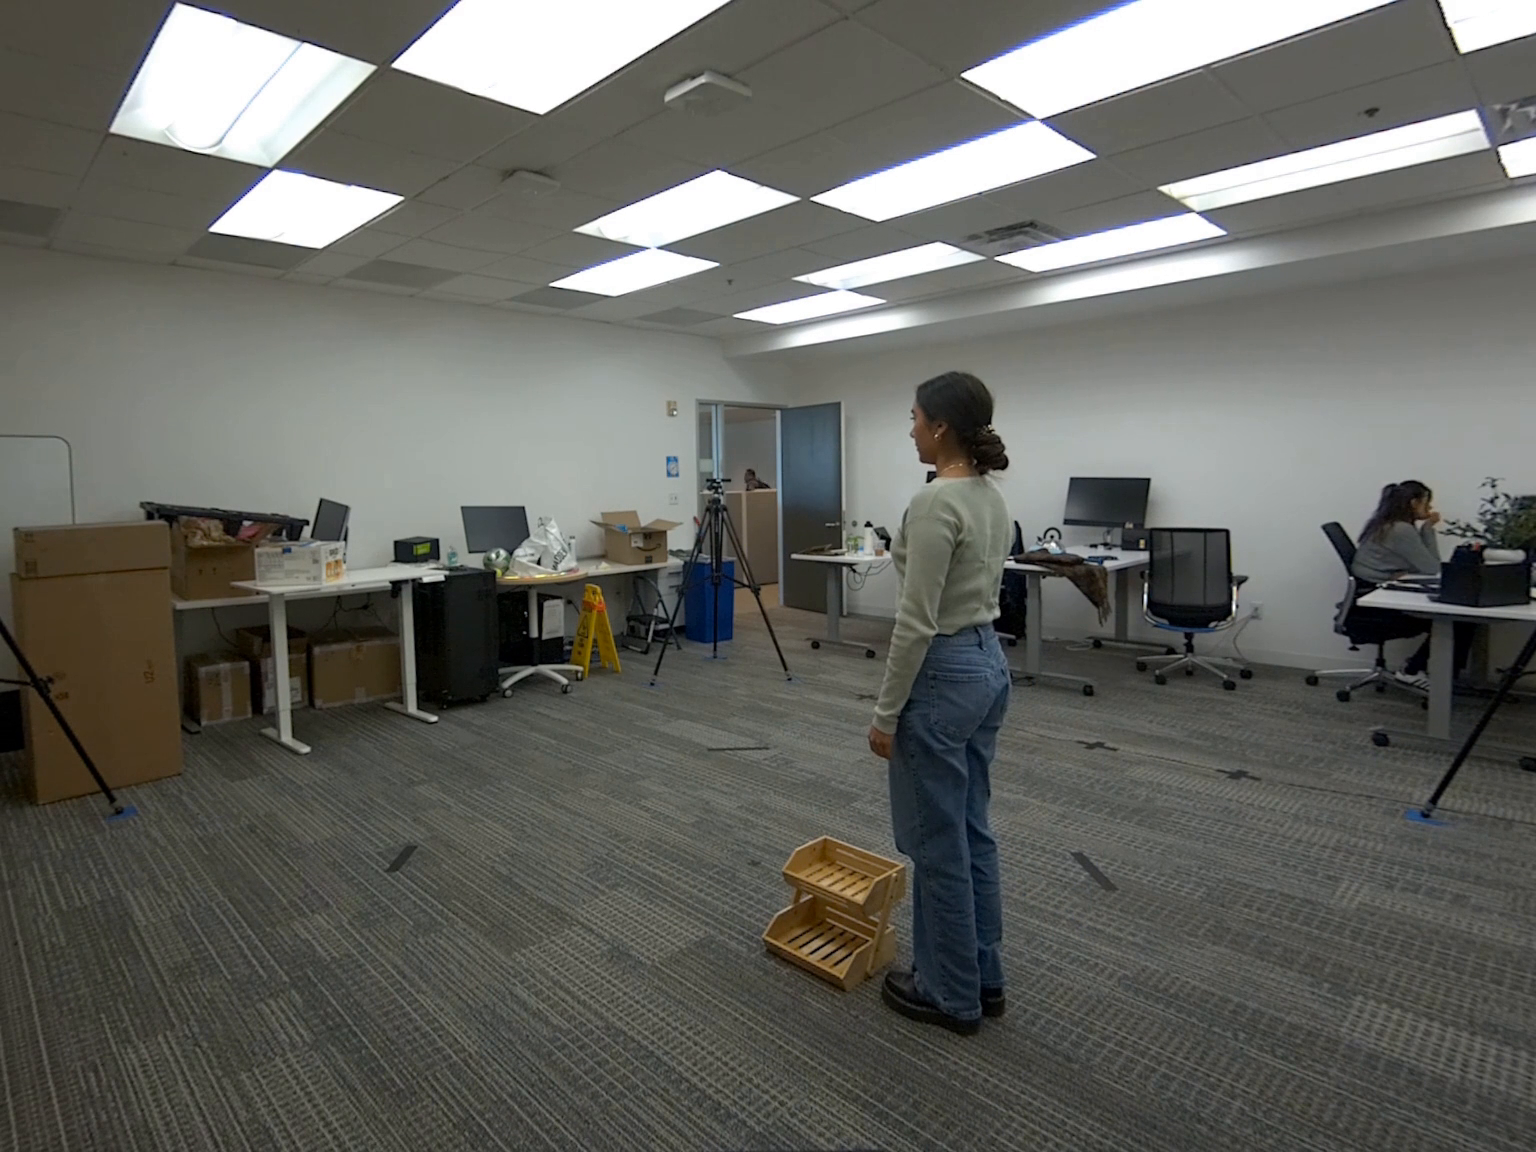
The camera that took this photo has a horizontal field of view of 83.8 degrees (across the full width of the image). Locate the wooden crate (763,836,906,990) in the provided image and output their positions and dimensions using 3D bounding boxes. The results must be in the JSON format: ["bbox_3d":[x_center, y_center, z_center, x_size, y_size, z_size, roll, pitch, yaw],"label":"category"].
[{"bbox_3d":[0.198,0.976,2.508,0.334,0.272,0.294,4,6,44],"label":"wooden crate"}]
